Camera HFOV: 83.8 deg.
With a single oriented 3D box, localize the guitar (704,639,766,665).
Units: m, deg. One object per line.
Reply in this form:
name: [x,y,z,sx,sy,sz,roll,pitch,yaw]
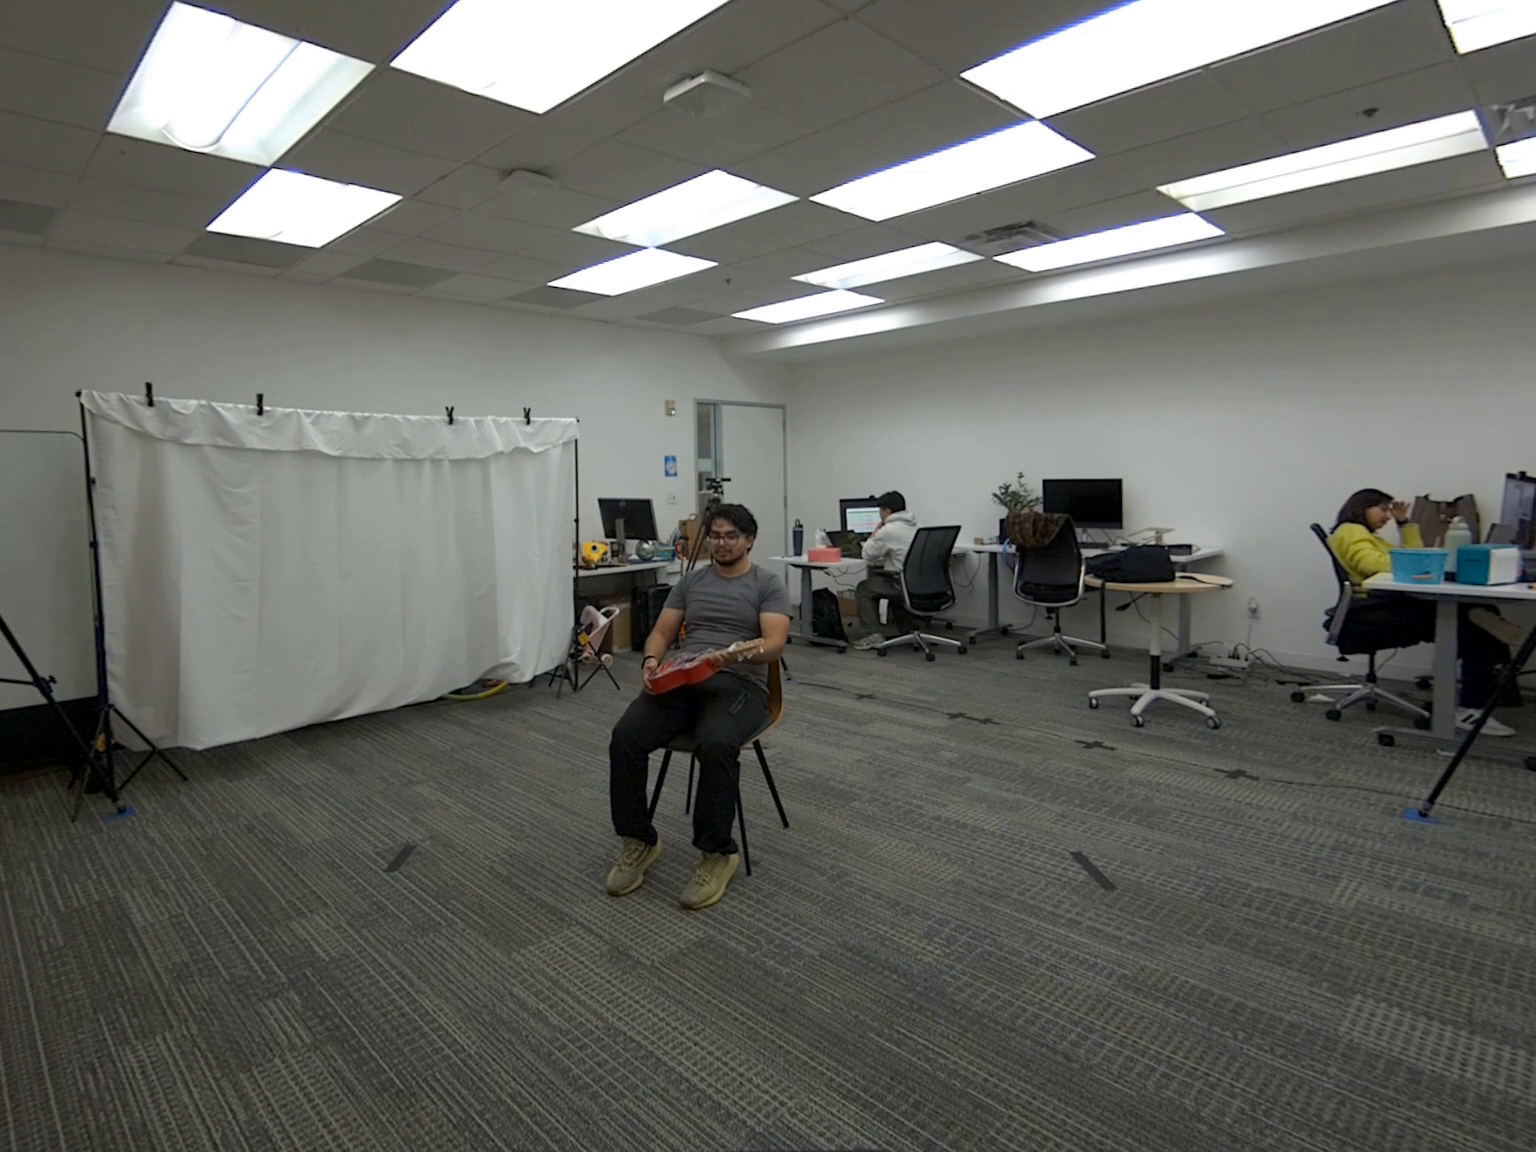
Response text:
guitar: [-0.225,0.310,2.927,0.507,0.070,0.191,-16,14,47]
